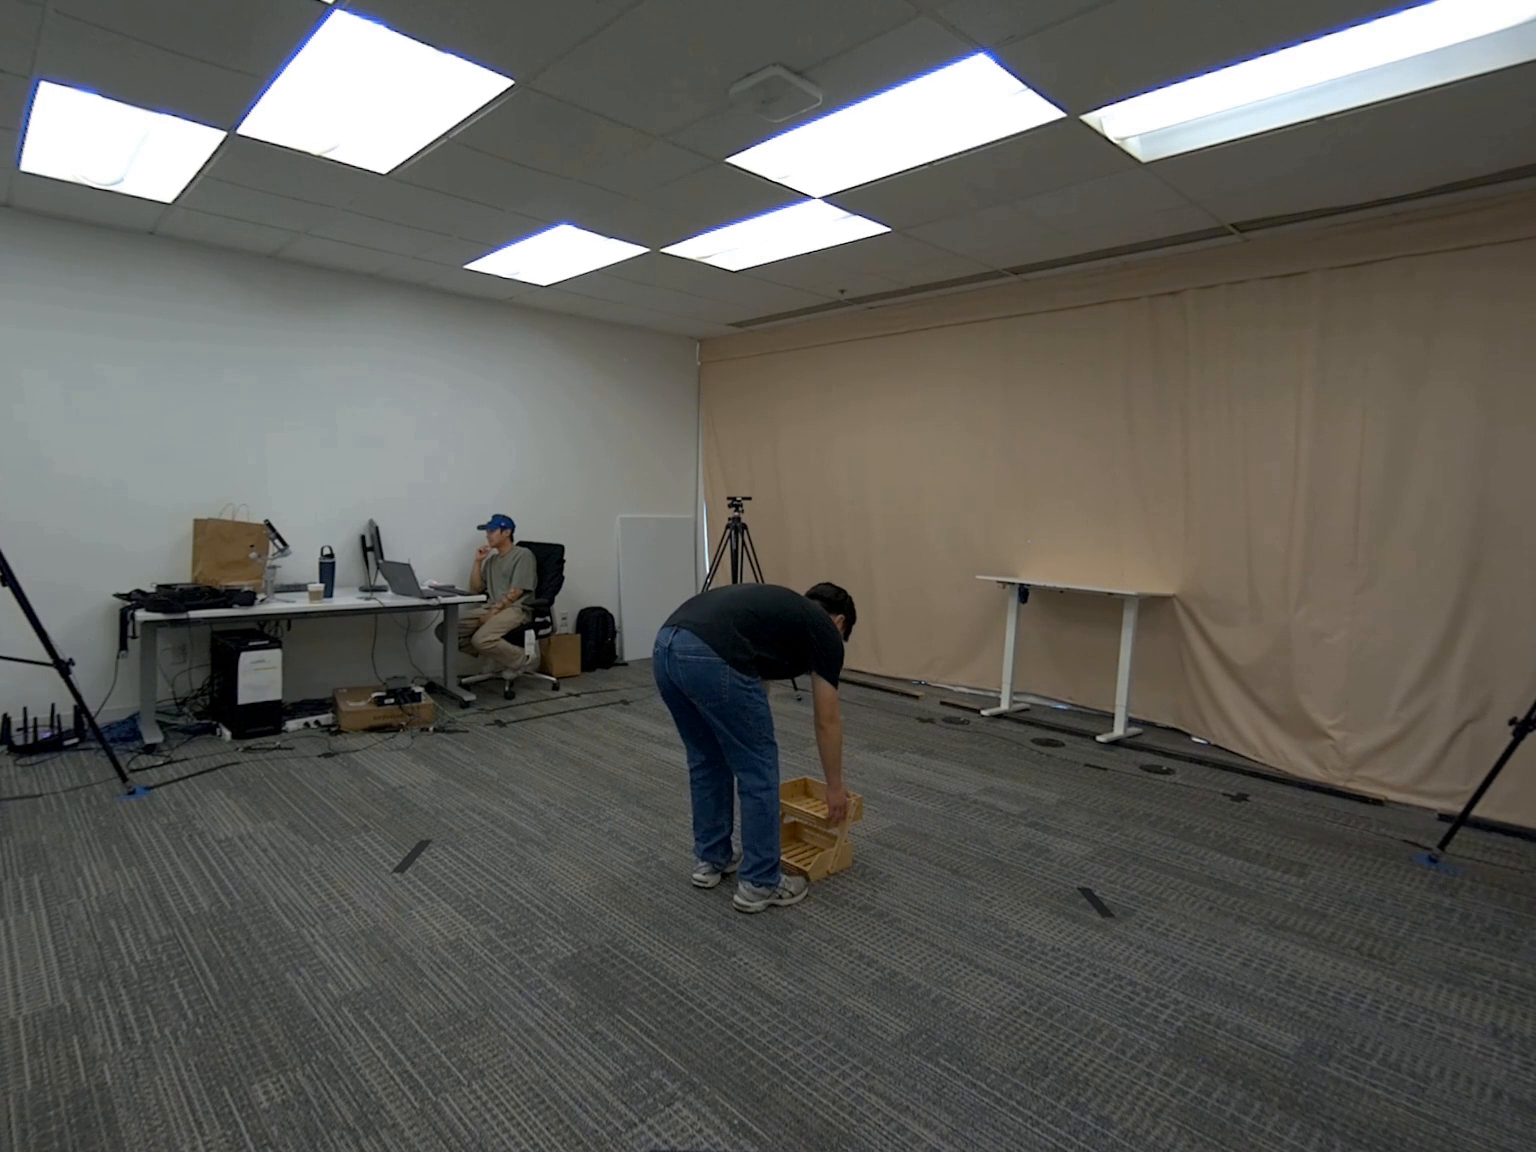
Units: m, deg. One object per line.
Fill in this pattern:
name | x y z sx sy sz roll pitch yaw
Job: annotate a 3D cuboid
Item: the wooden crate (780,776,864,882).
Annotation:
wooden crate | 0.143 0.966 3.260 0.295 0.273 0.333 -2 5 -43
